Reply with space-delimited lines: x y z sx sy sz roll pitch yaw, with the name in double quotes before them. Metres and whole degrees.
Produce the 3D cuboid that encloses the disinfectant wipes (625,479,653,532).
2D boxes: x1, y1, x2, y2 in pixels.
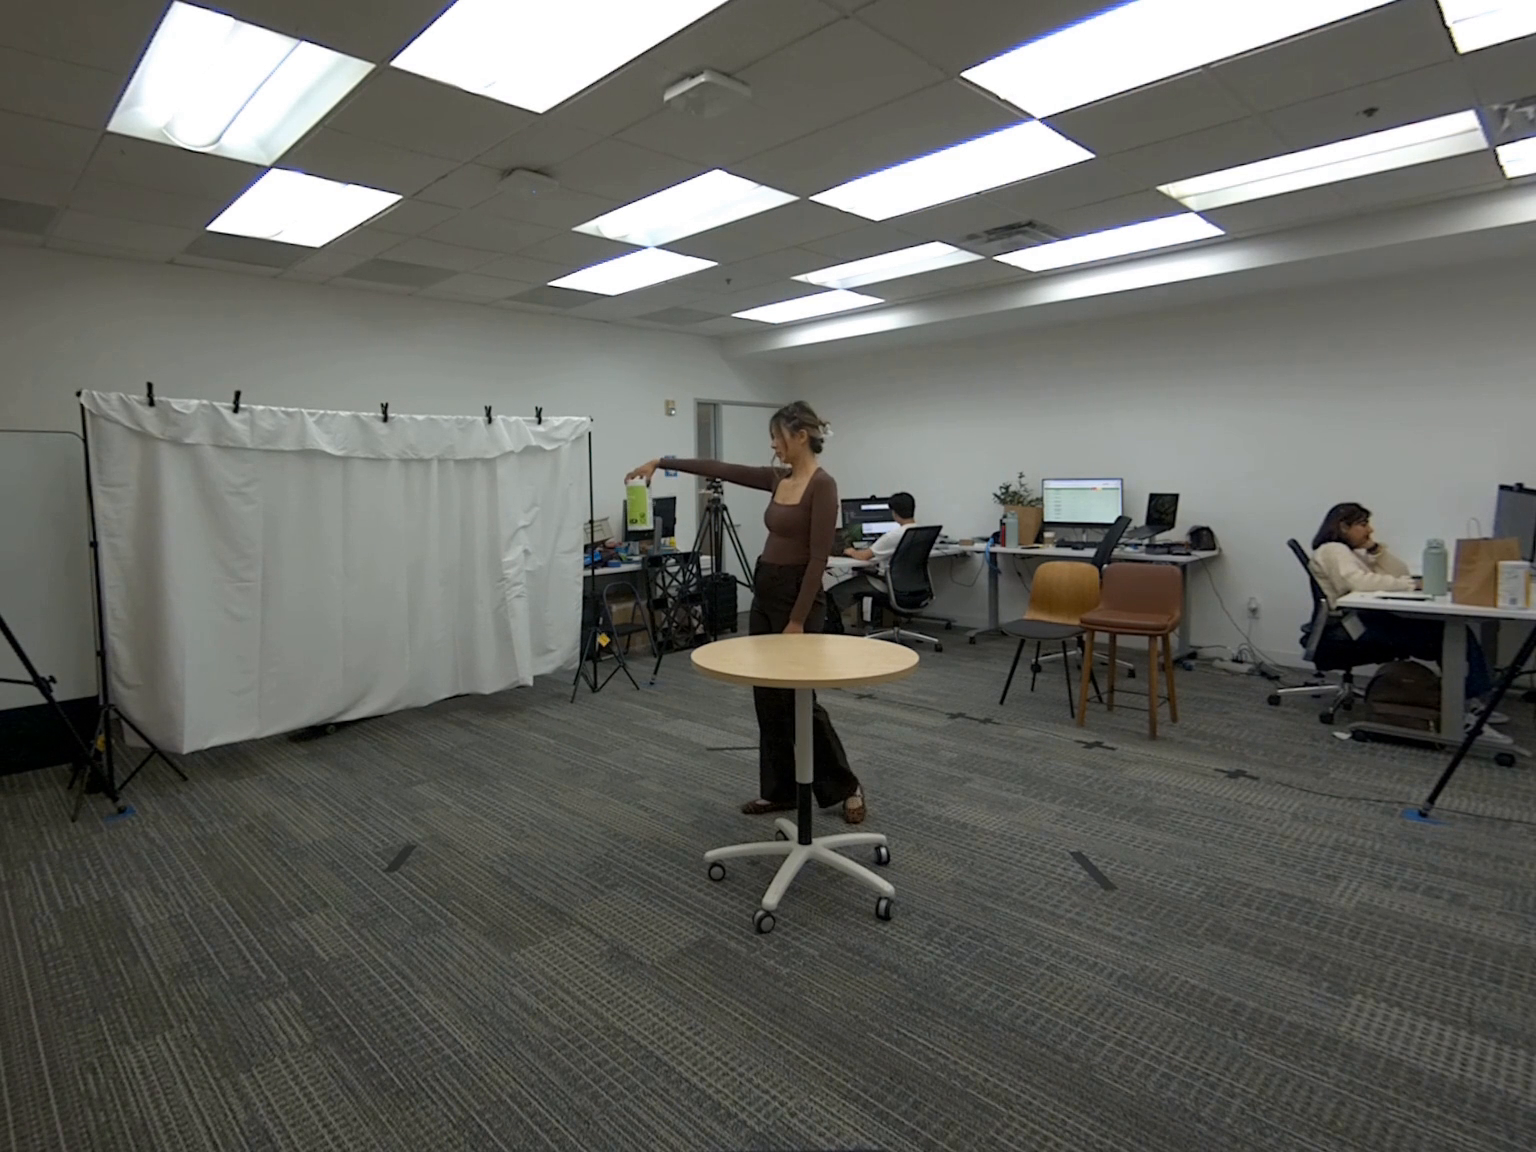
"disinfectant wipes" -0.542 -0.303 3.638 0.118 0.217 0.118 -2 2 -2
